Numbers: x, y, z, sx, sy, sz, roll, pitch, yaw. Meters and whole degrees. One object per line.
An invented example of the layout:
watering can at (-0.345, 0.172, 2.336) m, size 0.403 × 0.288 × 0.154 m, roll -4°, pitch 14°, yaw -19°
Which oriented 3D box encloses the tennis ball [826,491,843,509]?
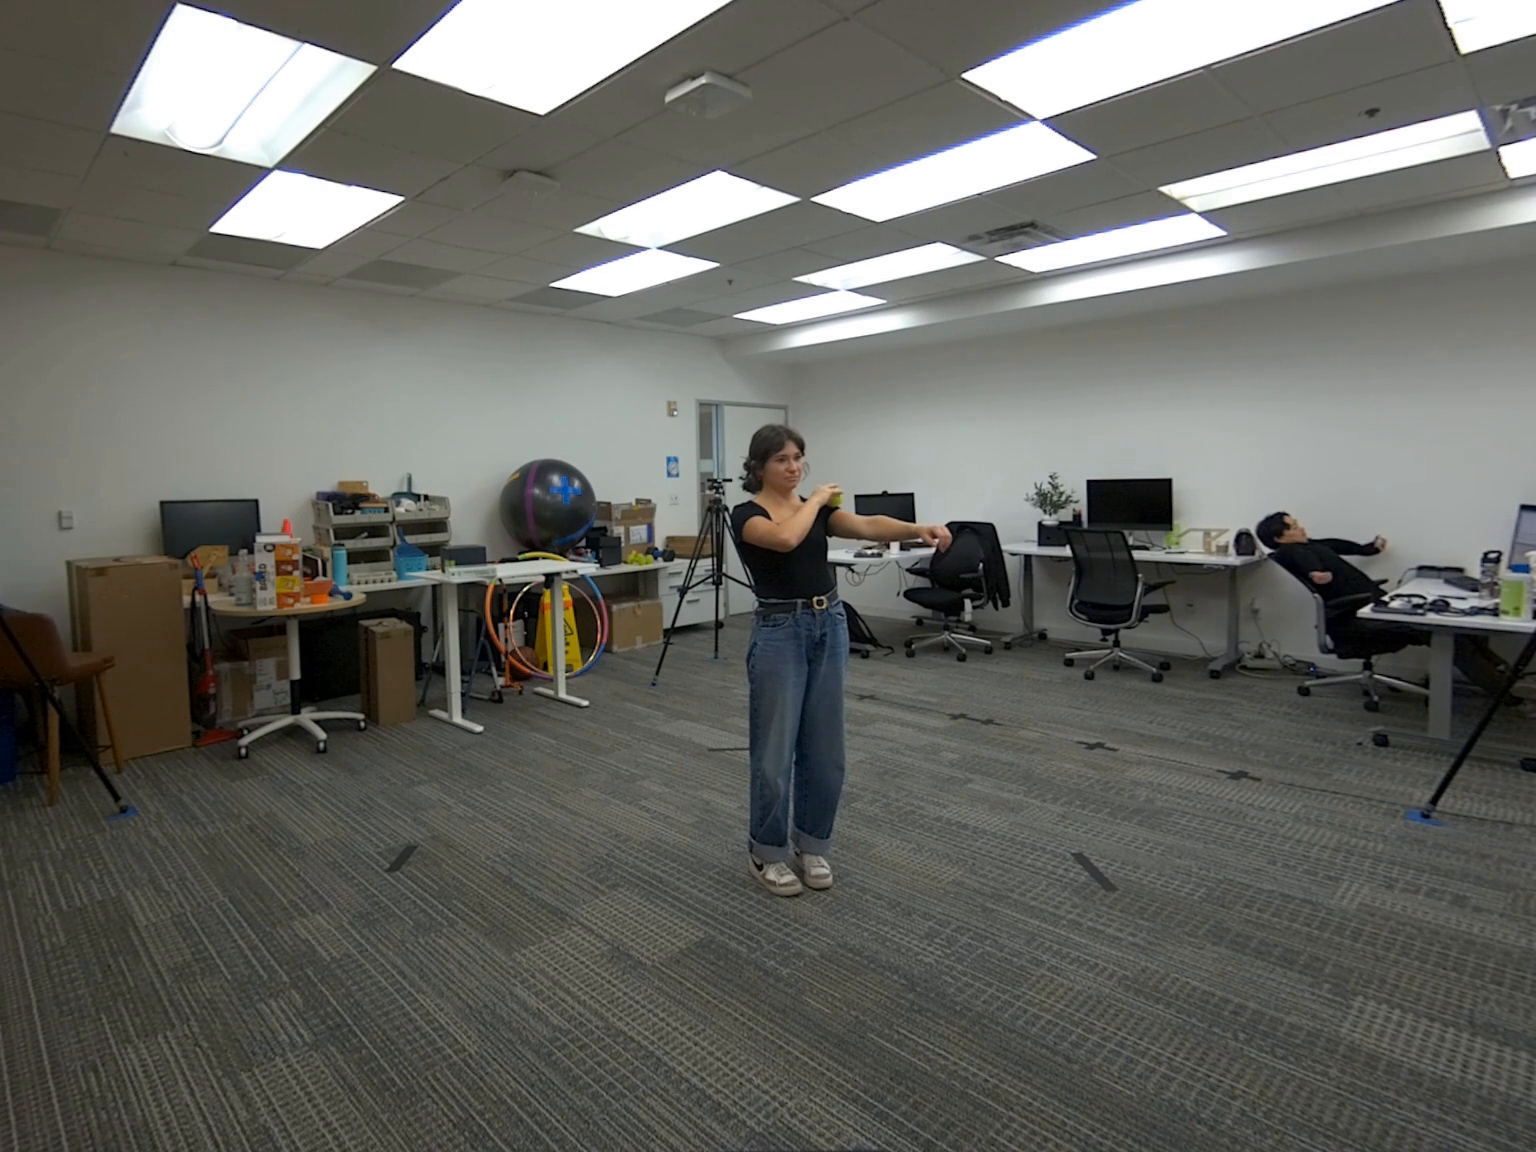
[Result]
tennis ball at (0.222, -0.272, 2.956) m, size 0.066 × 0.066 × 0.067 m, roll -1°, pitch 5°, yaw -2°
